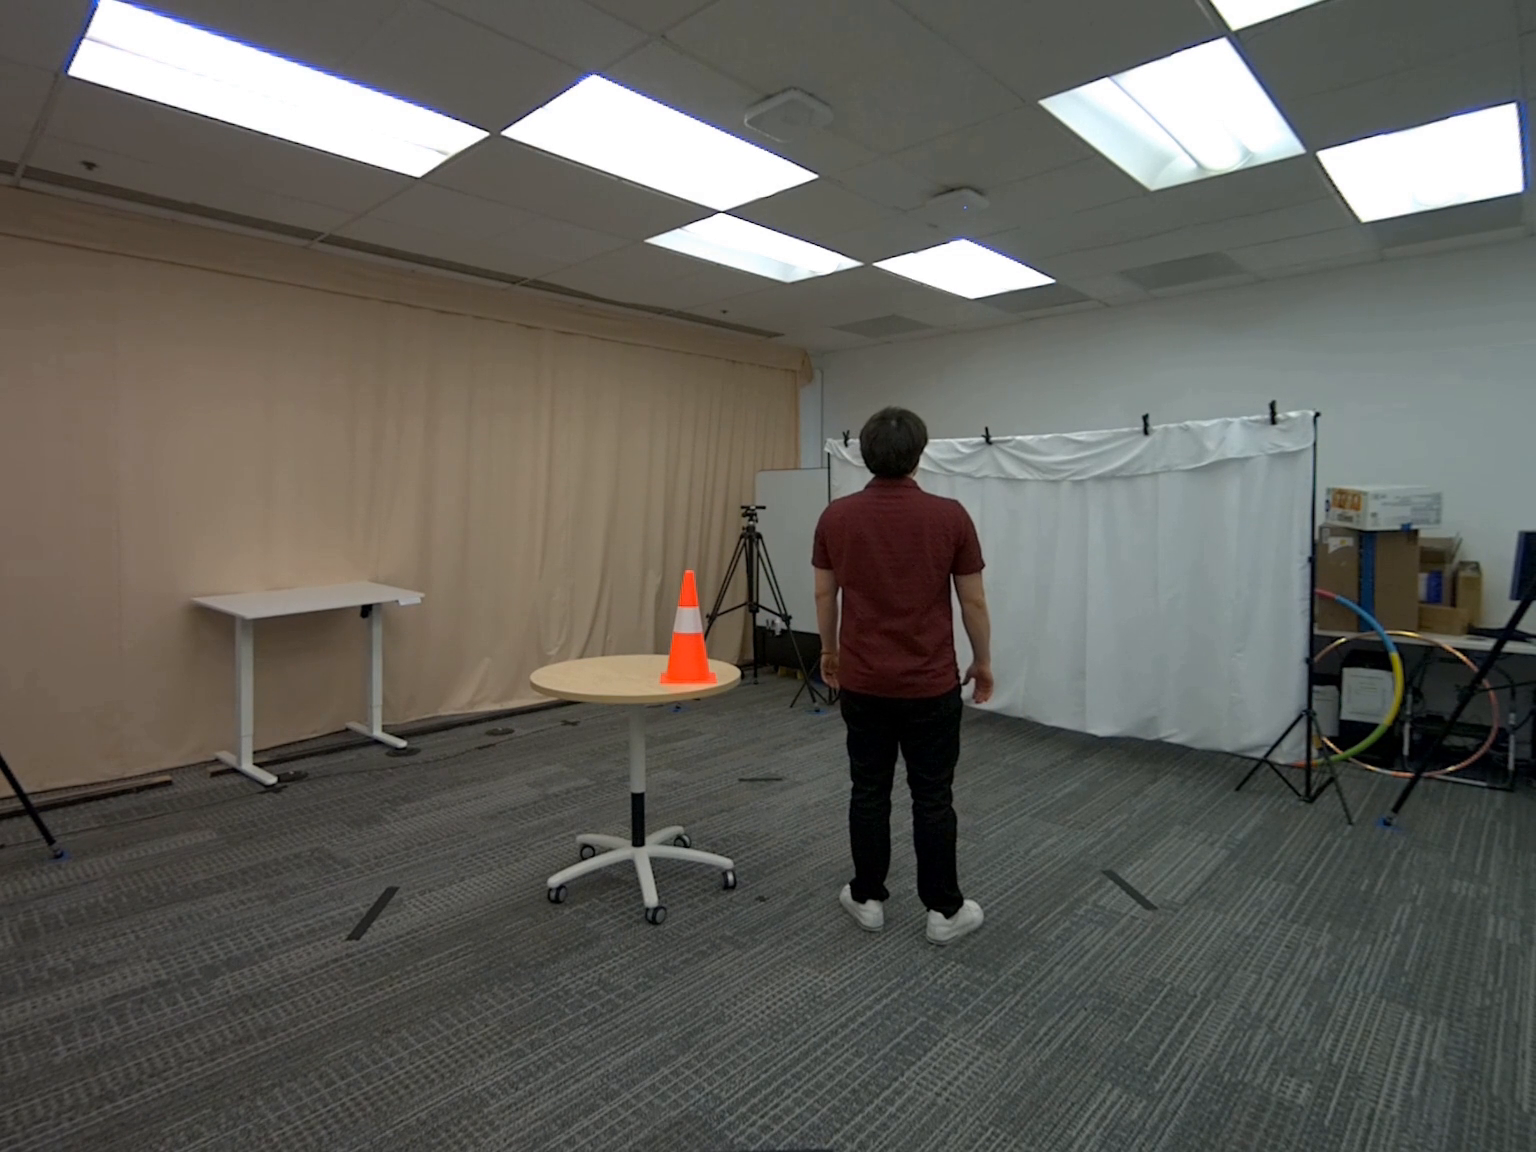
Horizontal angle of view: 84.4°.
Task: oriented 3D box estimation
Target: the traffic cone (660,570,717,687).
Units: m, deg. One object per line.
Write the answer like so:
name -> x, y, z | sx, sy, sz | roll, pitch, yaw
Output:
traffic cone -> -0.272, 0.172, 2.972 | 0.202, 0.383, 0.207 | 5, 5, -13
